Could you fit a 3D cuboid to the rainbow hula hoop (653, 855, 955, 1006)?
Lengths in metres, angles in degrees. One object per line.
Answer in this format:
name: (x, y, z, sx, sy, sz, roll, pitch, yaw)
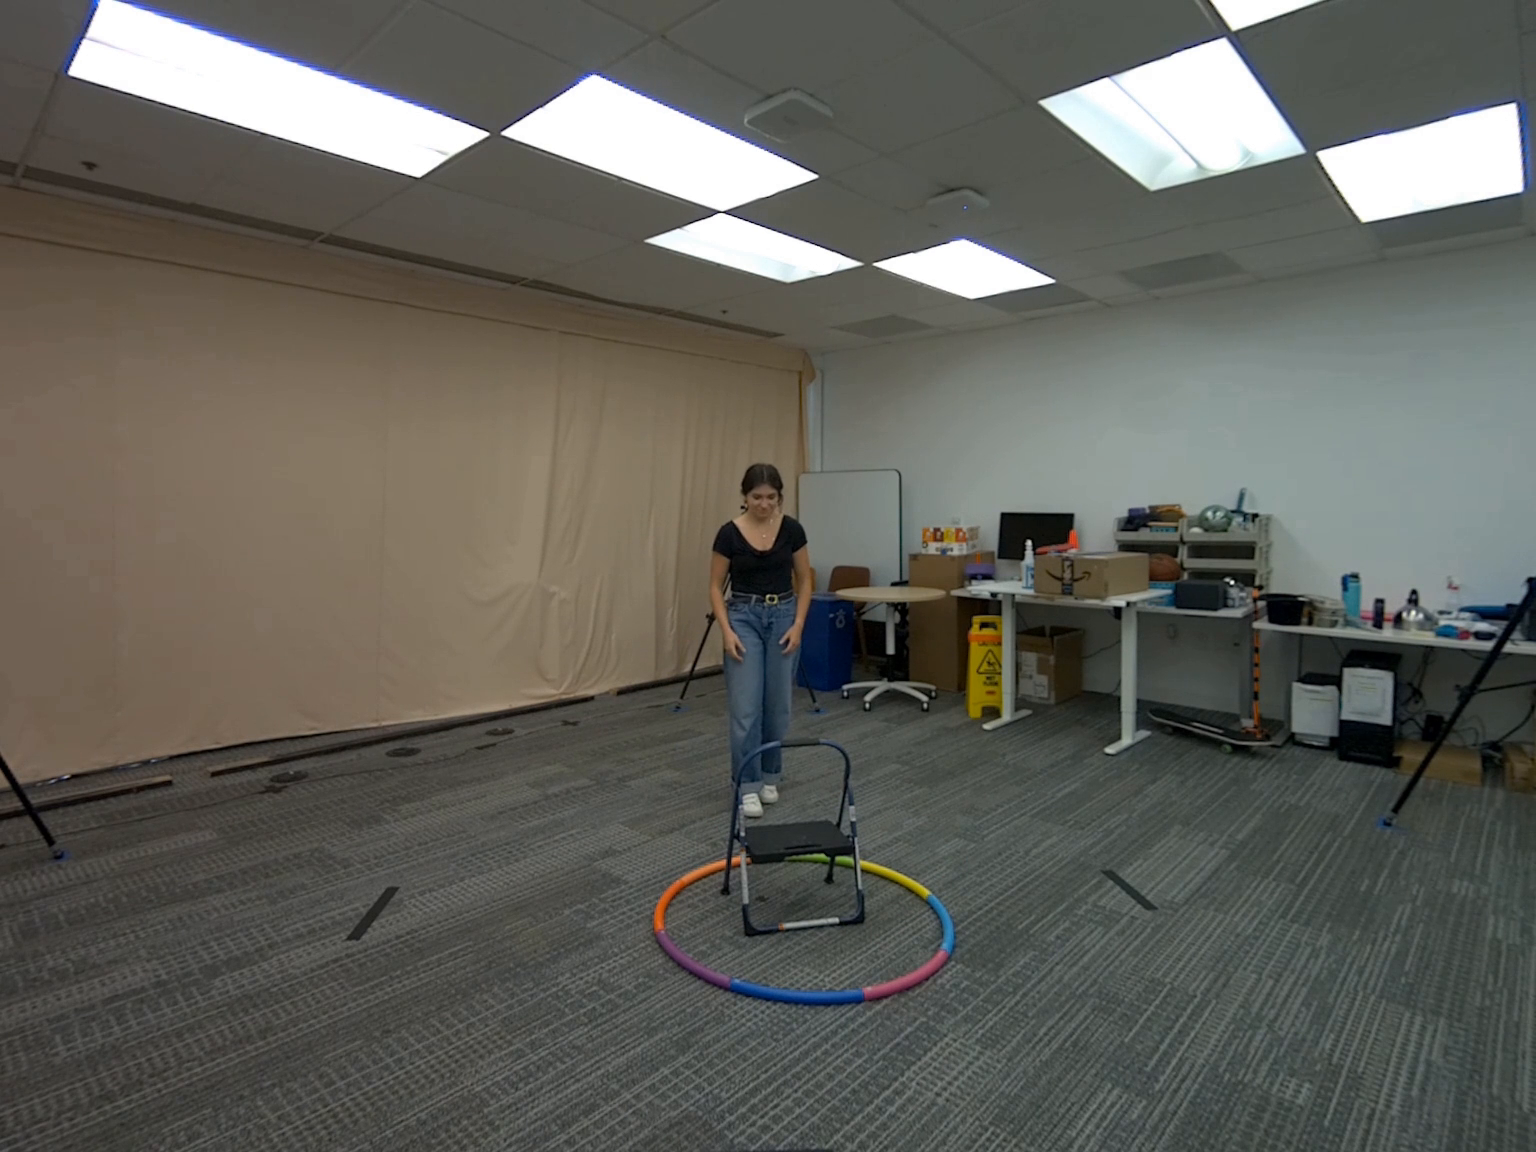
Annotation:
rainbow hula hoop: (0.118, 1.129, 2.830, 0.978, 0.035, 0.982, -1, 5, -2)
